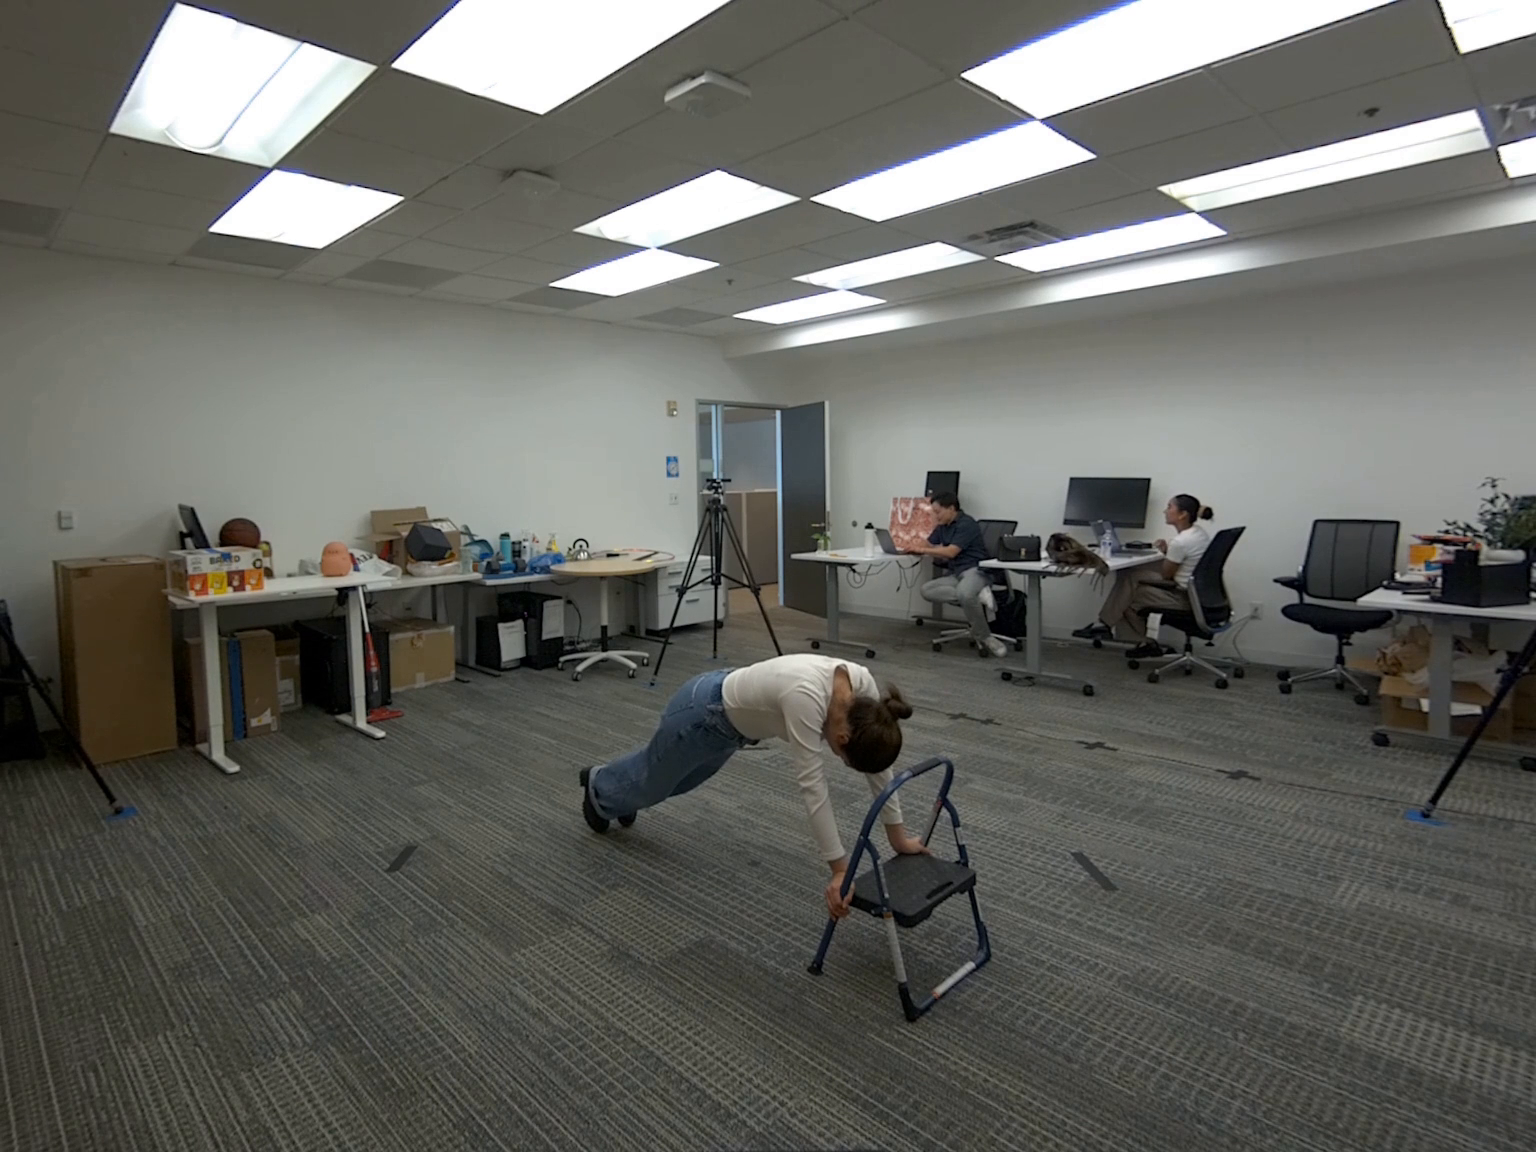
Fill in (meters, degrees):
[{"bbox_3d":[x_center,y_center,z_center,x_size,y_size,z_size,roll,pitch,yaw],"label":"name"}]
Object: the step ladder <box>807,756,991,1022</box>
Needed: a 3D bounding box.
[{"bbox_3d":[0.382,0.815,2.425,0.360,0.604,0.419,3,6,43],"label":"step ladder"}]
